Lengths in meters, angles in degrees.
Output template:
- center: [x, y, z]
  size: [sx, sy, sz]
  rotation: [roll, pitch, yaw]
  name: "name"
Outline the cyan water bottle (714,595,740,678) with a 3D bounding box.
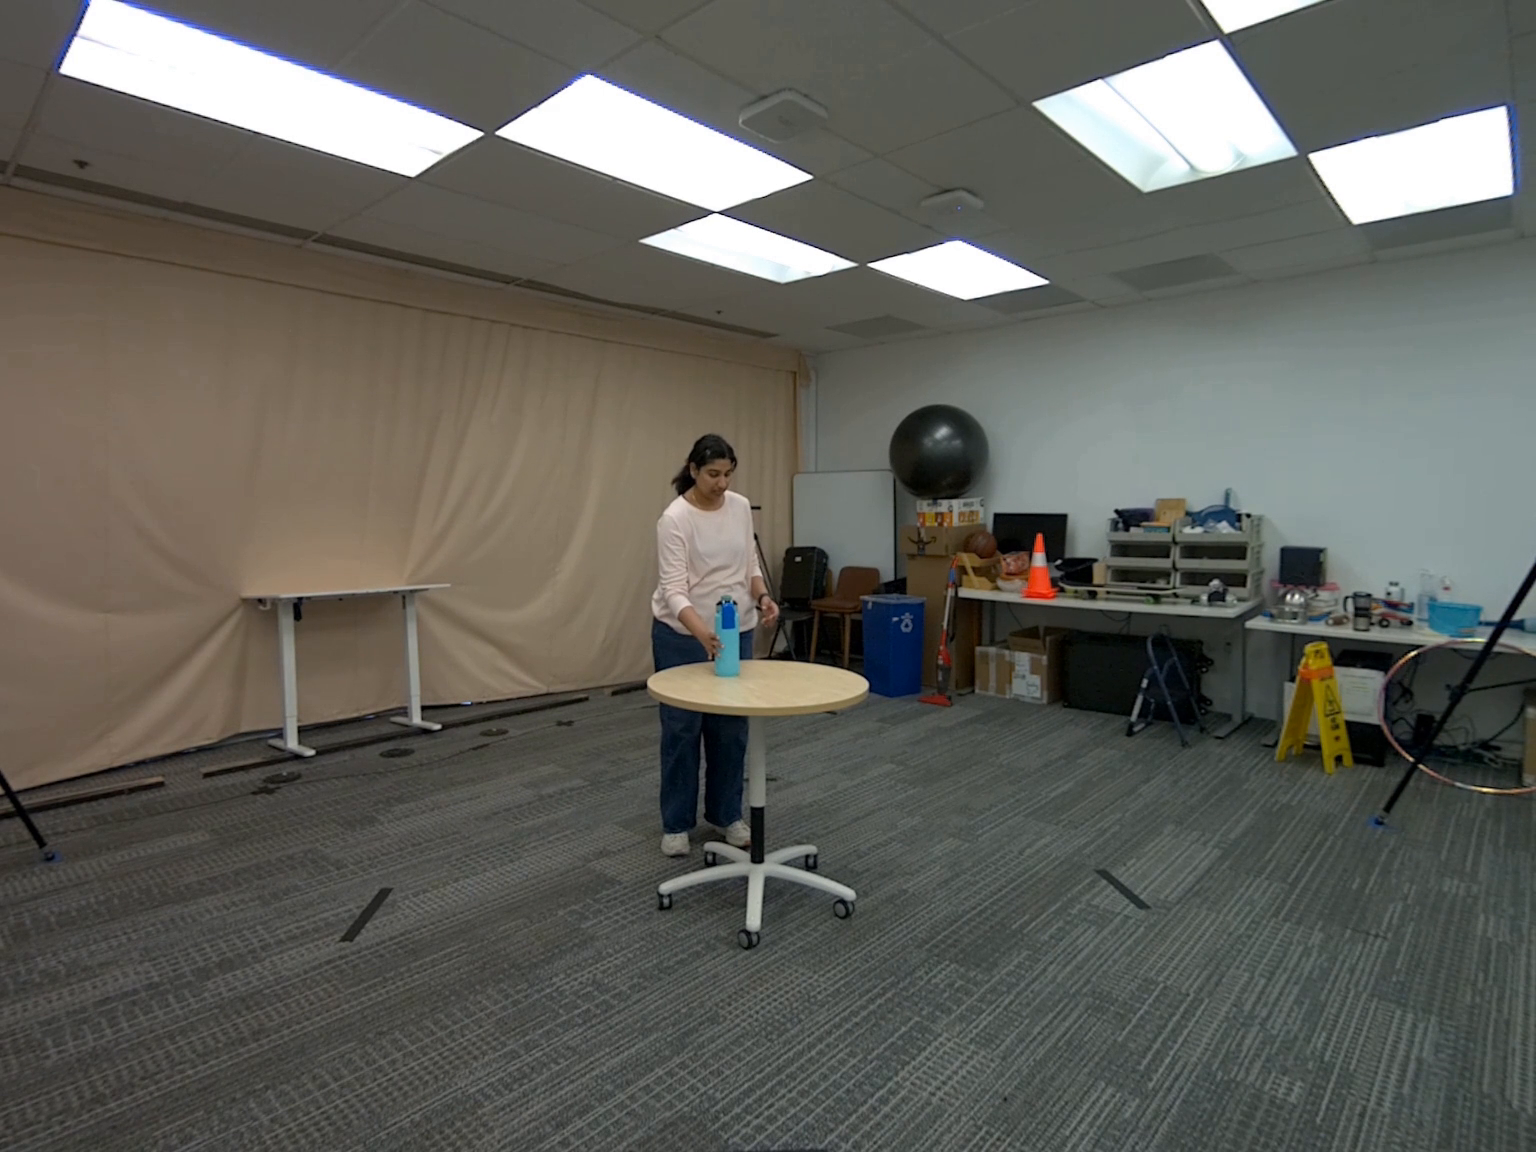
- center: [-0.148, 0.213, 3.017]
  size: [0.092, 0.282, 0.093]
  rotation: [-1, 9, -2]
  name: "cyan water bottle"
